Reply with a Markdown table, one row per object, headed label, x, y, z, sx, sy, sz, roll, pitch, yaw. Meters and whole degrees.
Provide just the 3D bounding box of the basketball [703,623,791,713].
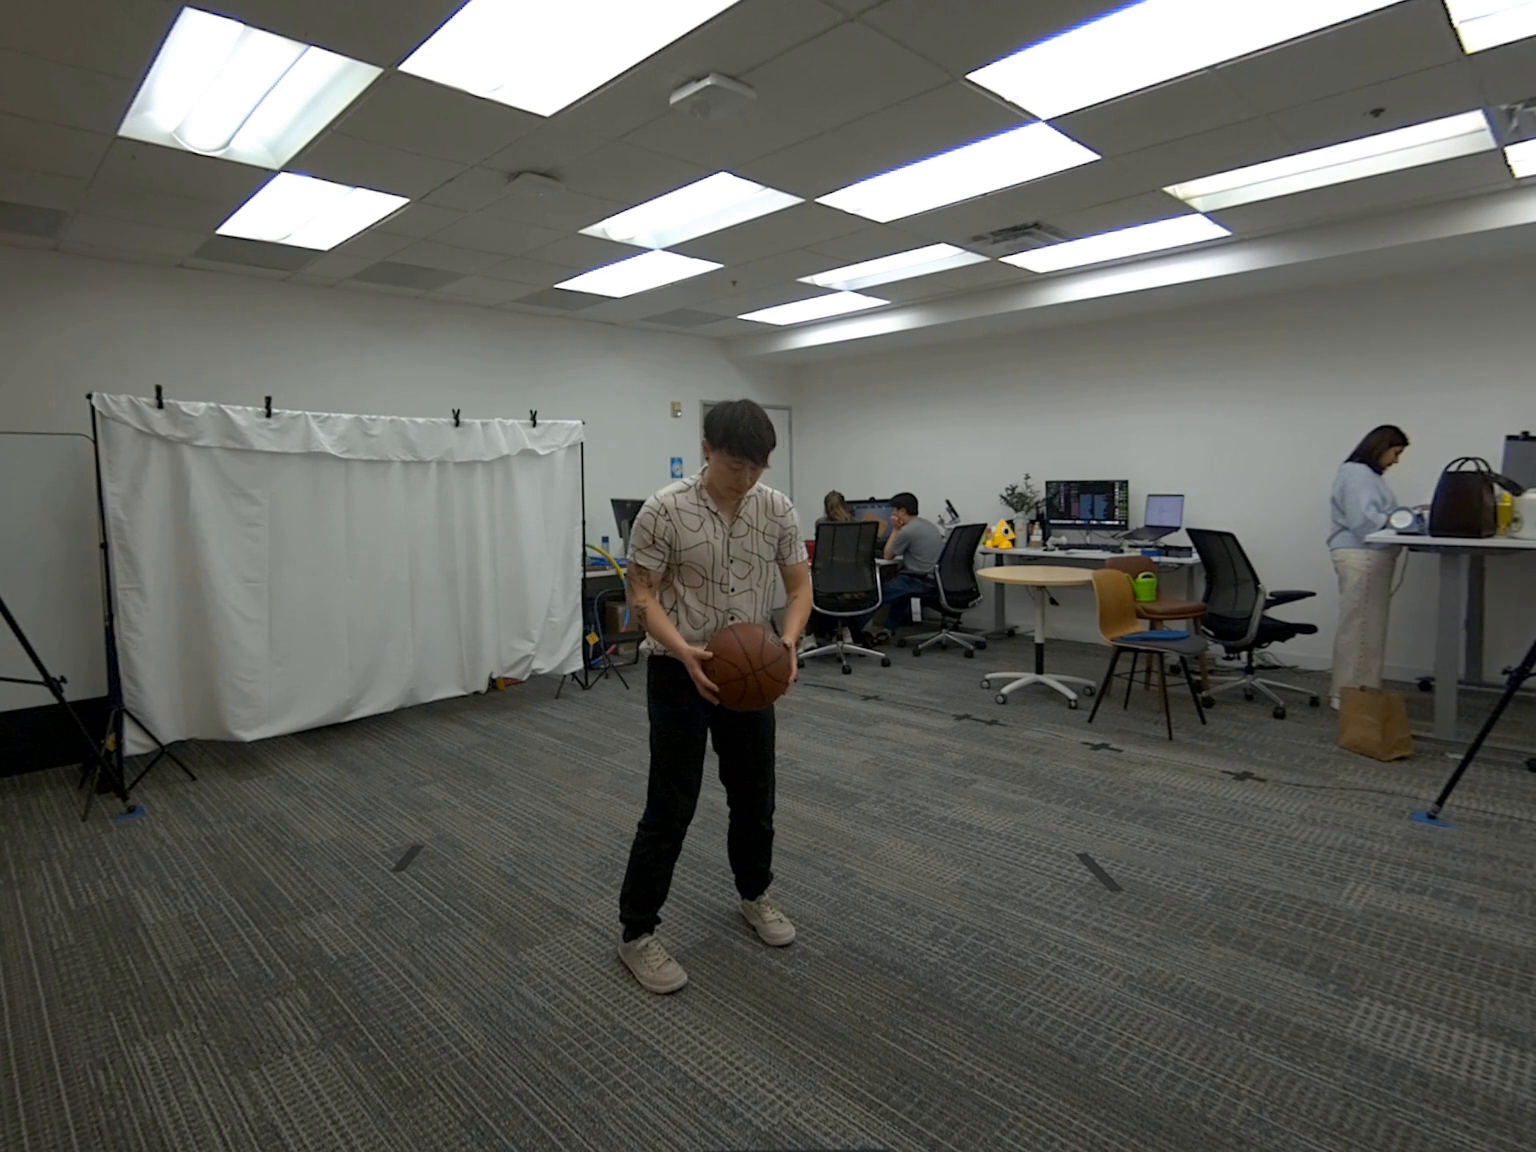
| label | x | y | z | sx | sy | sz | roll | pitch | yaw |
| --- | --- | --- | --- | --- | --- | --- | --- | --- | --- |
| basketball | -0.070 | 0.247 | 2.300 | 0.236 | 0.235 | 0.237 | -1 | 5 | -2 |
